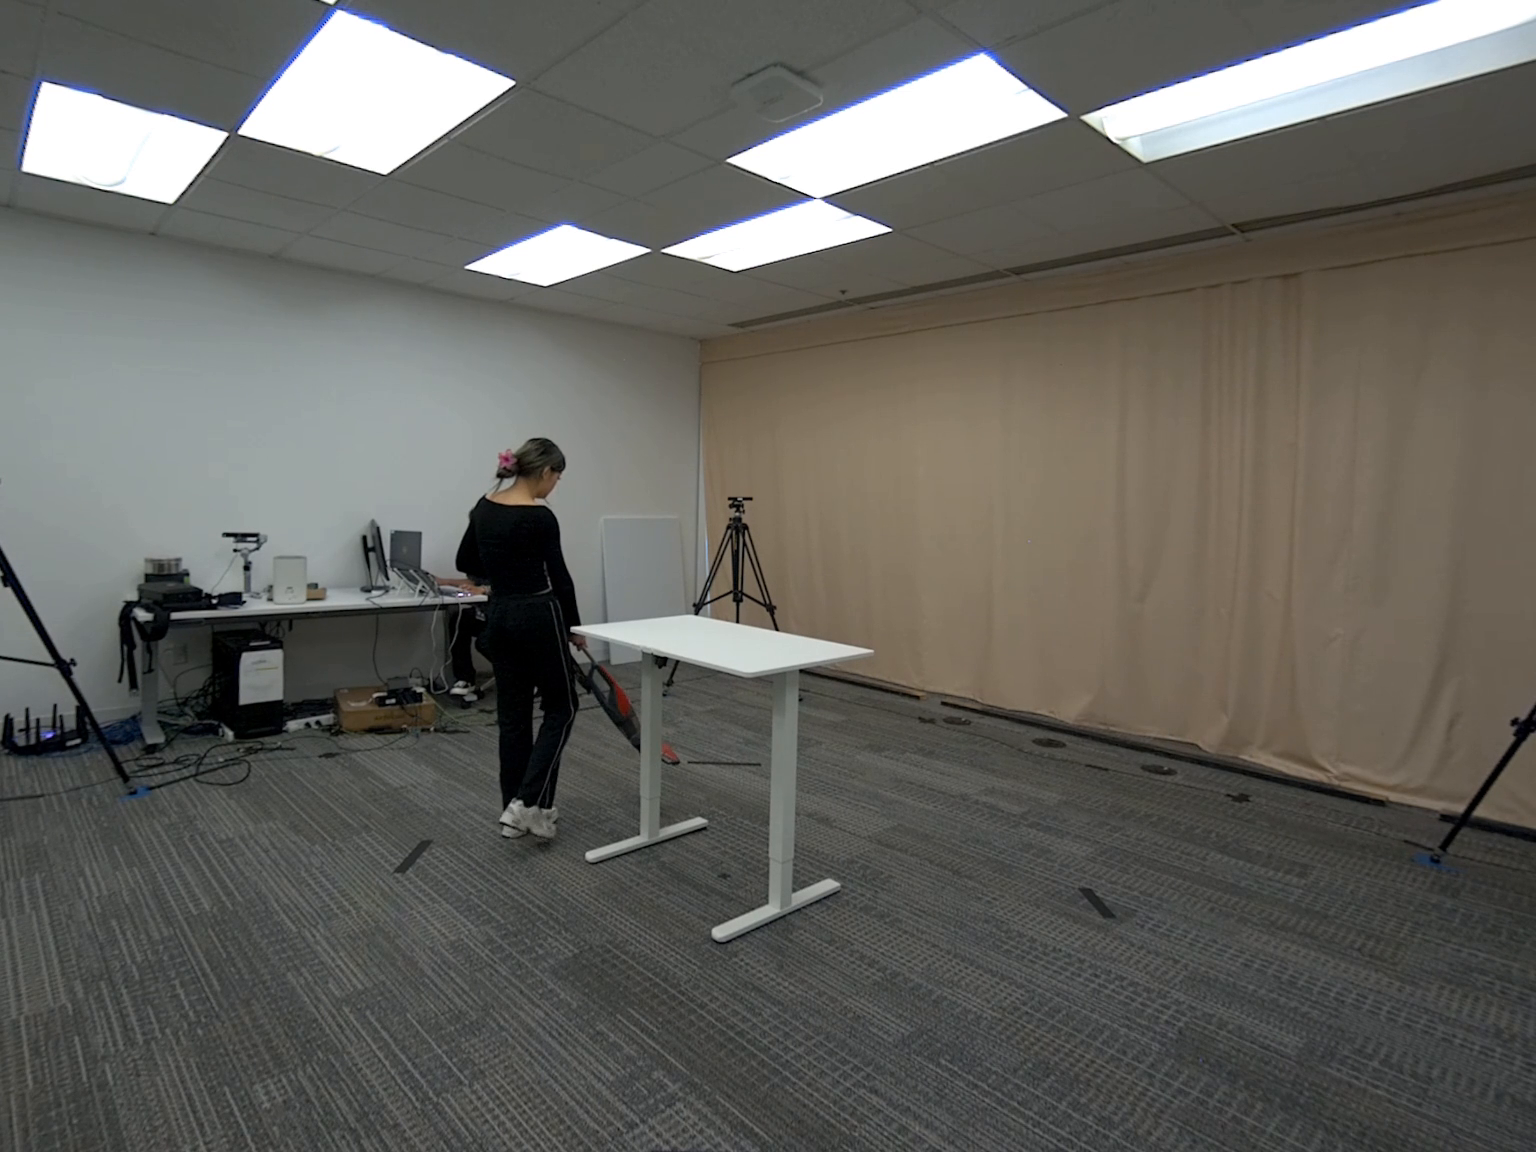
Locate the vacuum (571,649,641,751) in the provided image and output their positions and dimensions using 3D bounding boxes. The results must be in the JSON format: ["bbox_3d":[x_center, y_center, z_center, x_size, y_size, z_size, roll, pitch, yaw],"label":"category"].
[{"bbox_3d":[-0.769,0.432,3.660,0.144,1.032,0.257,-42,17,-23],"label":"vacuum"}]
